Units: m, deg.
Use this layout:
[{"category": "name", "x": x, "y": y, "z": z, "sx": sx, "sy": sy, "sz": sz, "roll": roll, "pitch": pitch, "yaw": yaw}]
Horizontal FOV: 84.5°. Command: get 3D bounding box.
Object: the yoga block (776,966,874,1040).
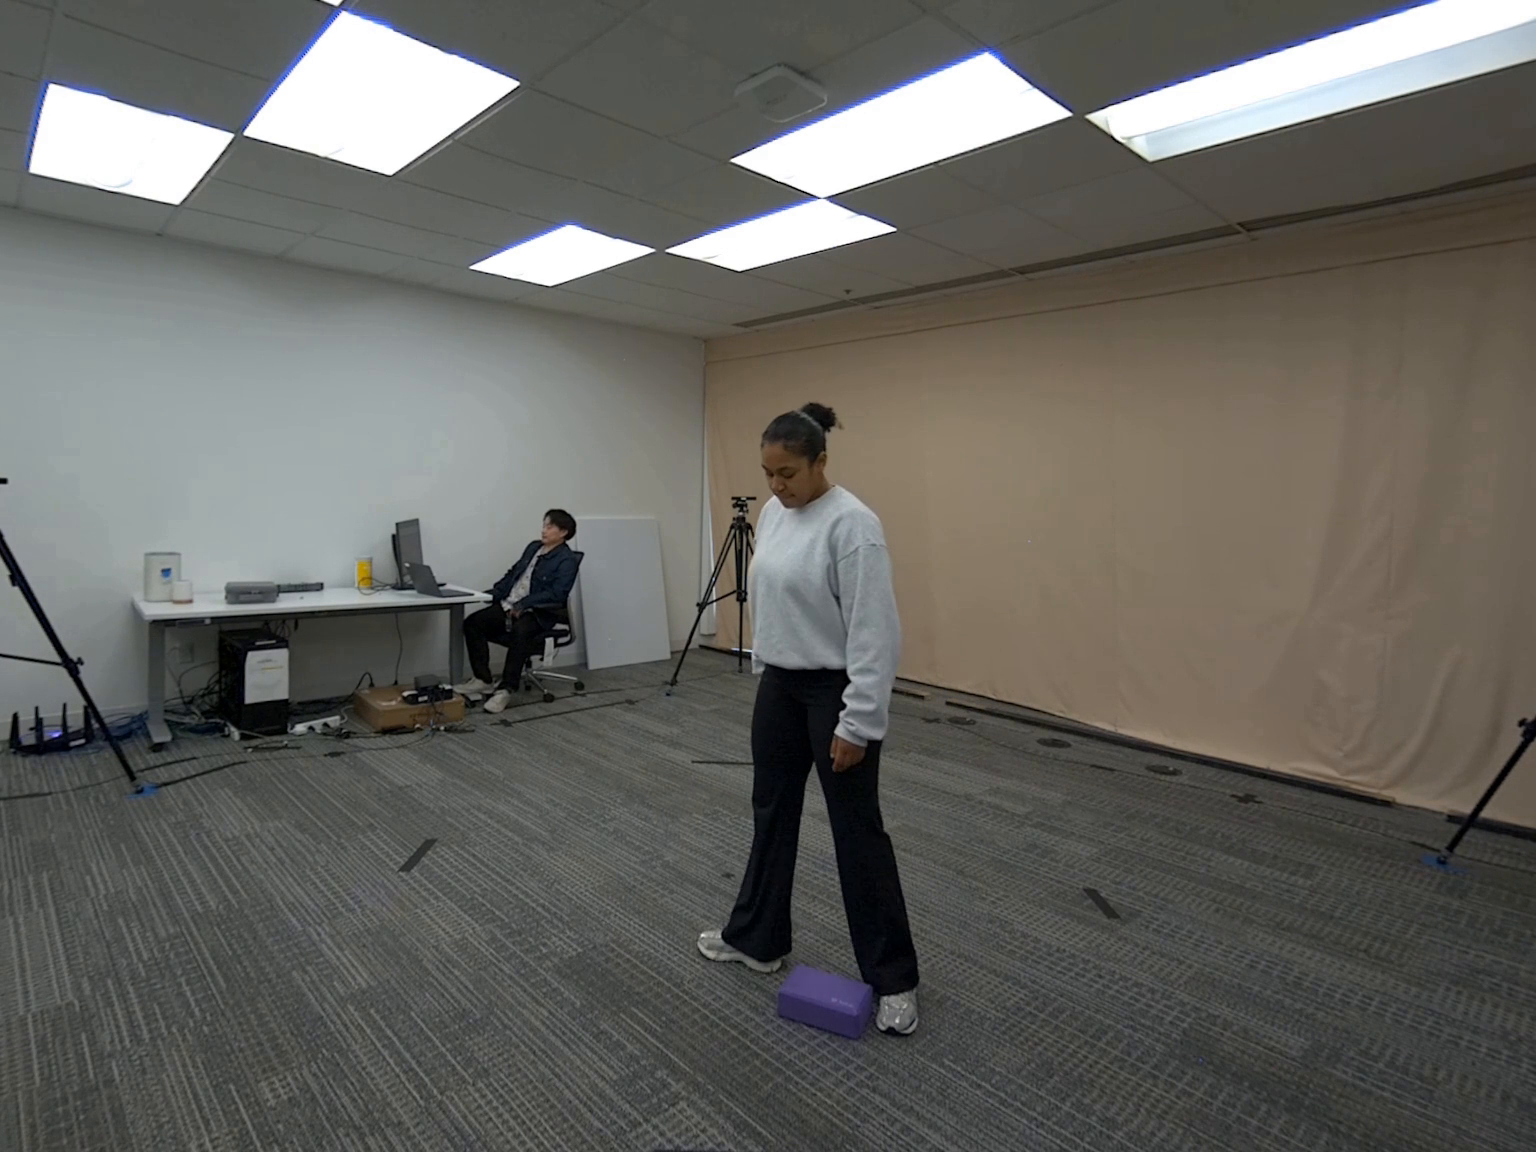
[{"category": "yoga block", "x": 0.137, "y": 1.143, "z": 2.293, "sx": 0.234, "sy": 0.076, "sz": 0.147, "roll": 4, "pitch": 6, "yaw": 24}]
